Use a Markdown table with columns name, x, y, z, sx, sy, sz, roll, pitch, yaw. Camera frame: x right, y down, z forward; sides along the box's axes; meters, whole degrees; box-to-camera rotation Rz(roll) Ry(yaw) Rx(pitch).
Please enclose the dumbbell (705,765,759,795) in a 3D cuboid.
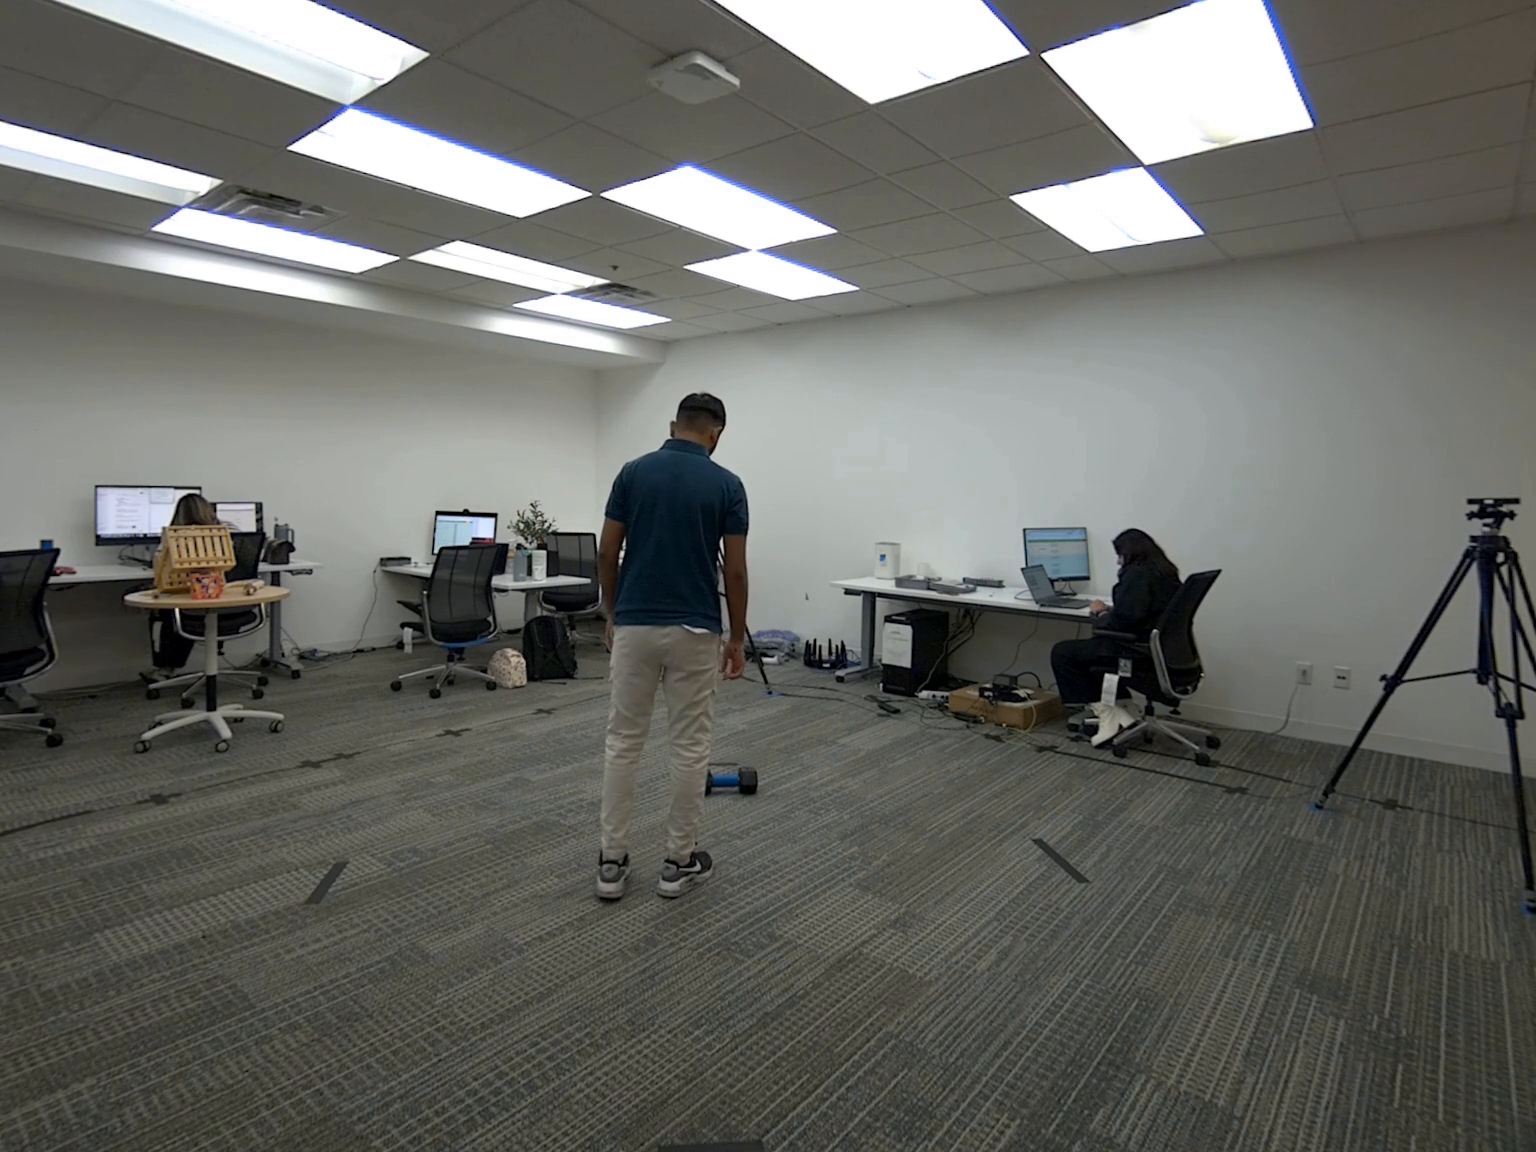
| name | x | y | z | sx | sy | sz | roll | pitch | yaw |
| --- | --- | --- | --- | --- | --- | --- | --- | --- | --- |
| dumbbell | -0.205 | 0.936 | 3.907 | 0.292 | 0.120 | 0.112 | 0 | 35 | -5 |
